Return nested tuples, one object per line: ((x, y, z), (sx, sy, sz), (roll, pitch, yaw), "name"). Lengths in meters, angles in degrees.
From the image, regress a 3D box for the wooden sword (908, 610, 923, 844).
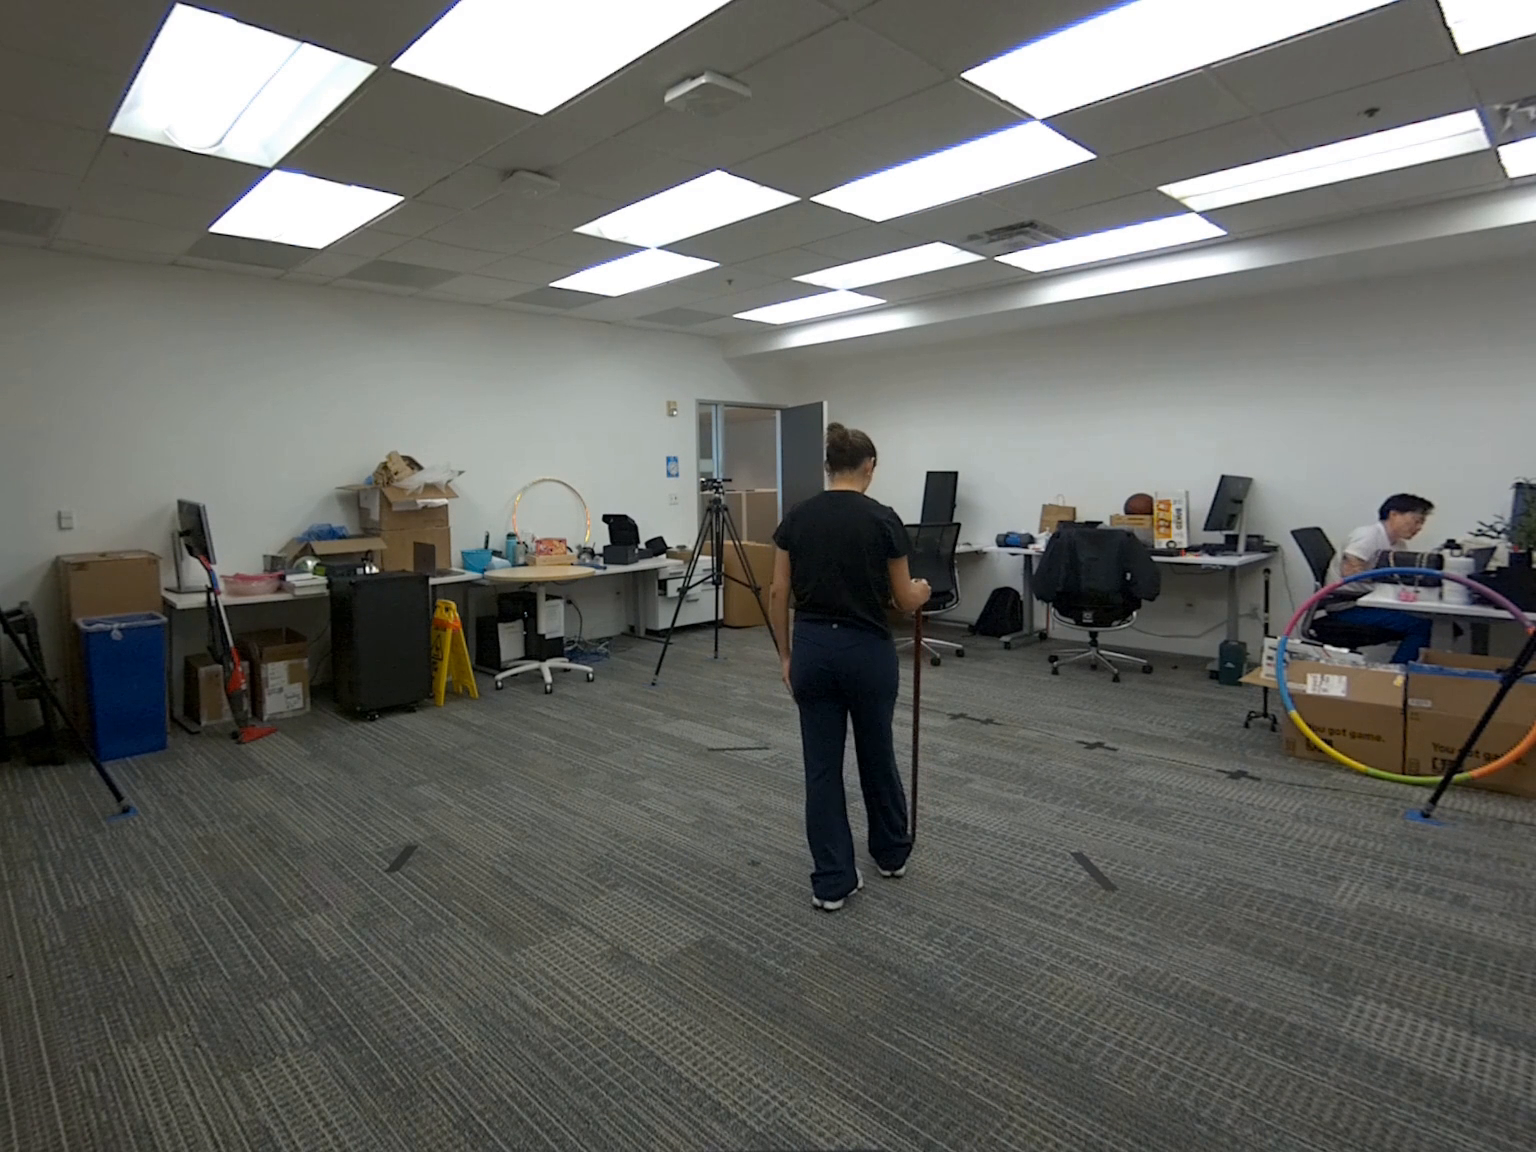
((0.543, 0.519, 3.155), (0.023, 1.015, 0.053), (-9, 12, -38), "wooden sword")
